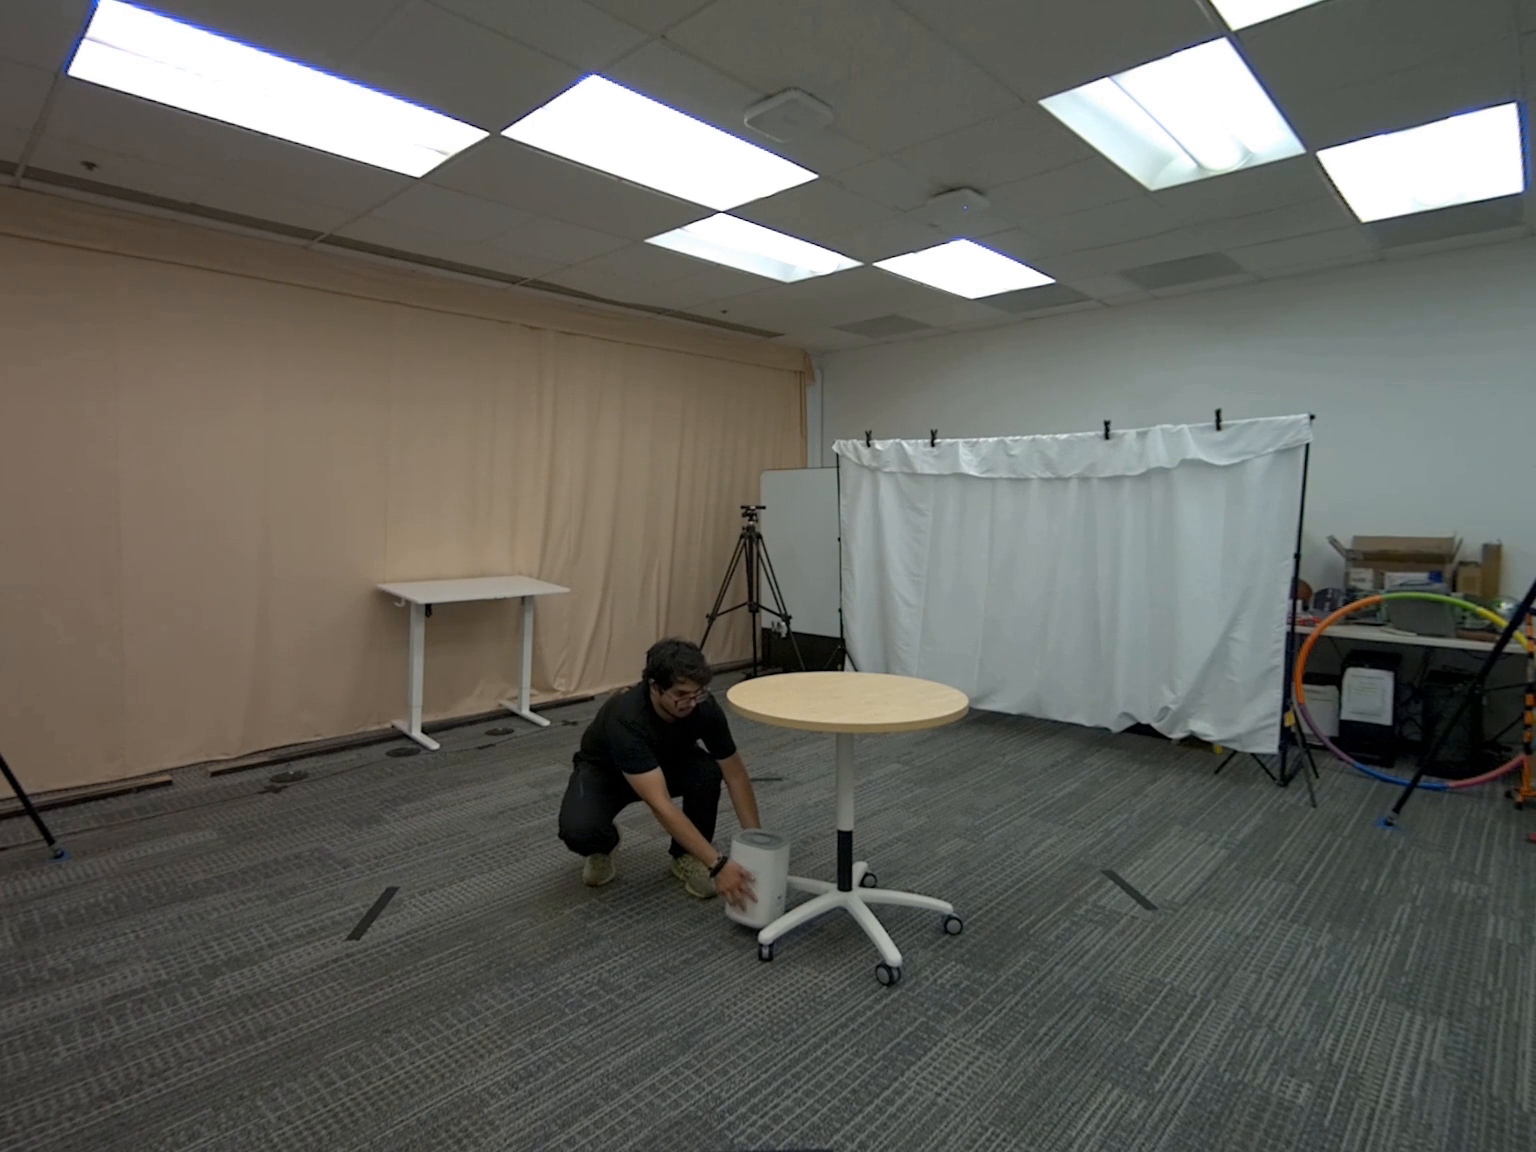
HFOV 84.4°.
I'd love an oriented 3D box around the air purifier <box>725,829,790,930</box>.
[{"bbox_3d":[-0.025,0.996,2.754,0.177,0.265,0.166,4,-1,30],"label":"air purifier"}]
